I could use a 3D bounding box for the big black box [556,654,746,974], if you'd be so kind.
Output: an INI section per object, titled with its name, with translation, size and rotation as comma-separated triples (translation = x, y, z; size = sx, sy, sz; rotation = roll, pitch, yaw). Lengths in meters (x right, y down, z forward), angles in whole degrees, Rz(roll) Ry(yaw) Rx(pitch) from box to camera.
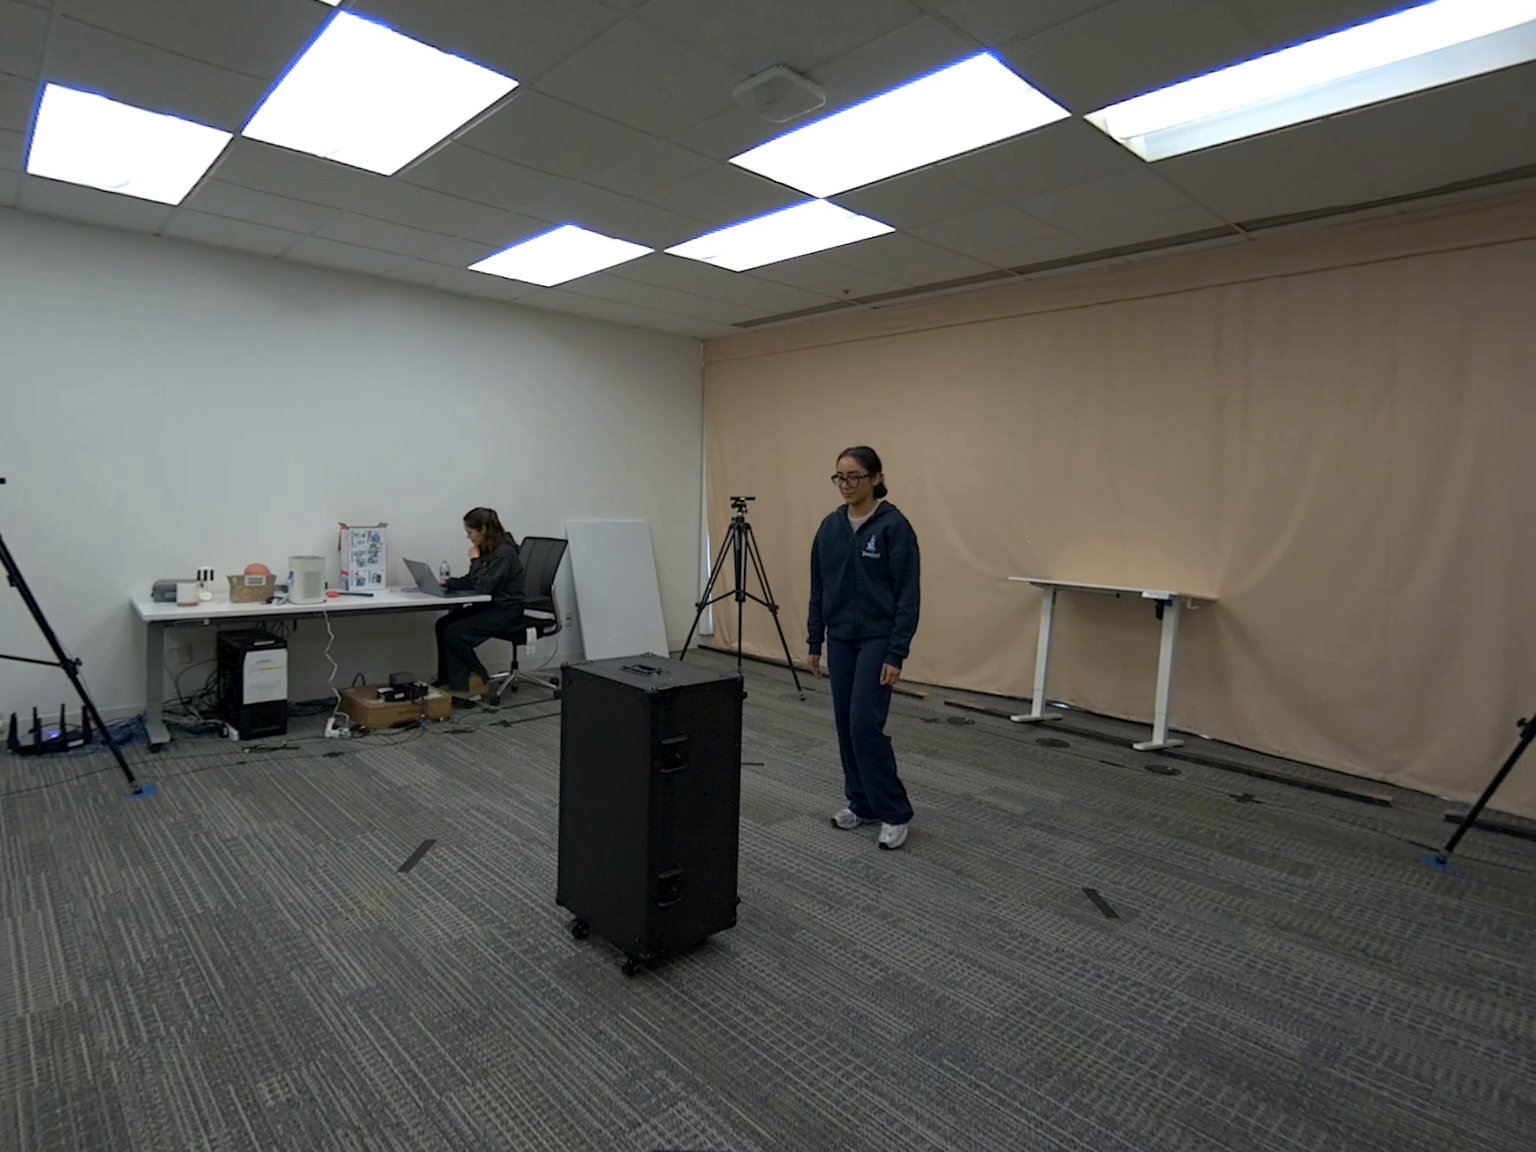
[big black box]
translation = -0.379, 0.722, 2.652
size = 0.387, 0.860, 0.534
rotation = 1, 3, -44
